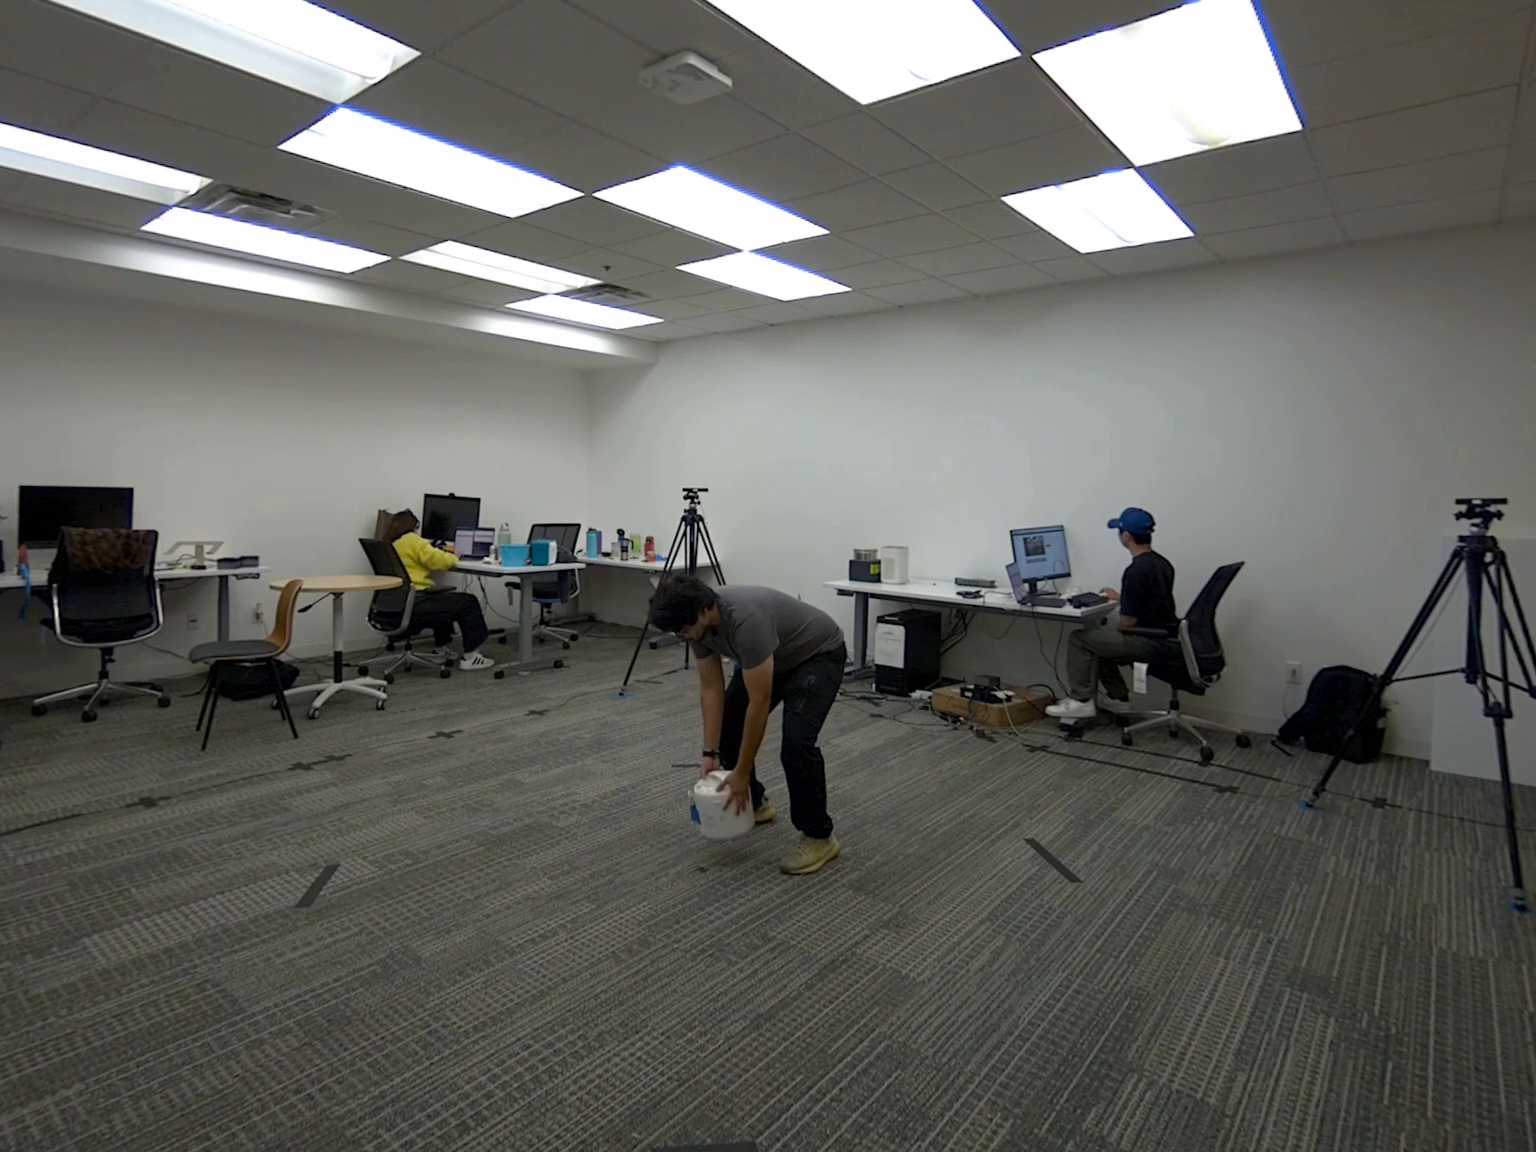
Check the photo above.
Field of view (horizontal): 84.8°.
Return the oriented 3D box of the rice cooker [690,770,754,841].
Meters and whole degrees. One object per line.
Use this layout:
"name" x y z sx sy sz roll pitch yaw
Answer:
"rice cooker" -0.183 0.850 3.216 0.213 0.231 0.227 -12 8 -31
